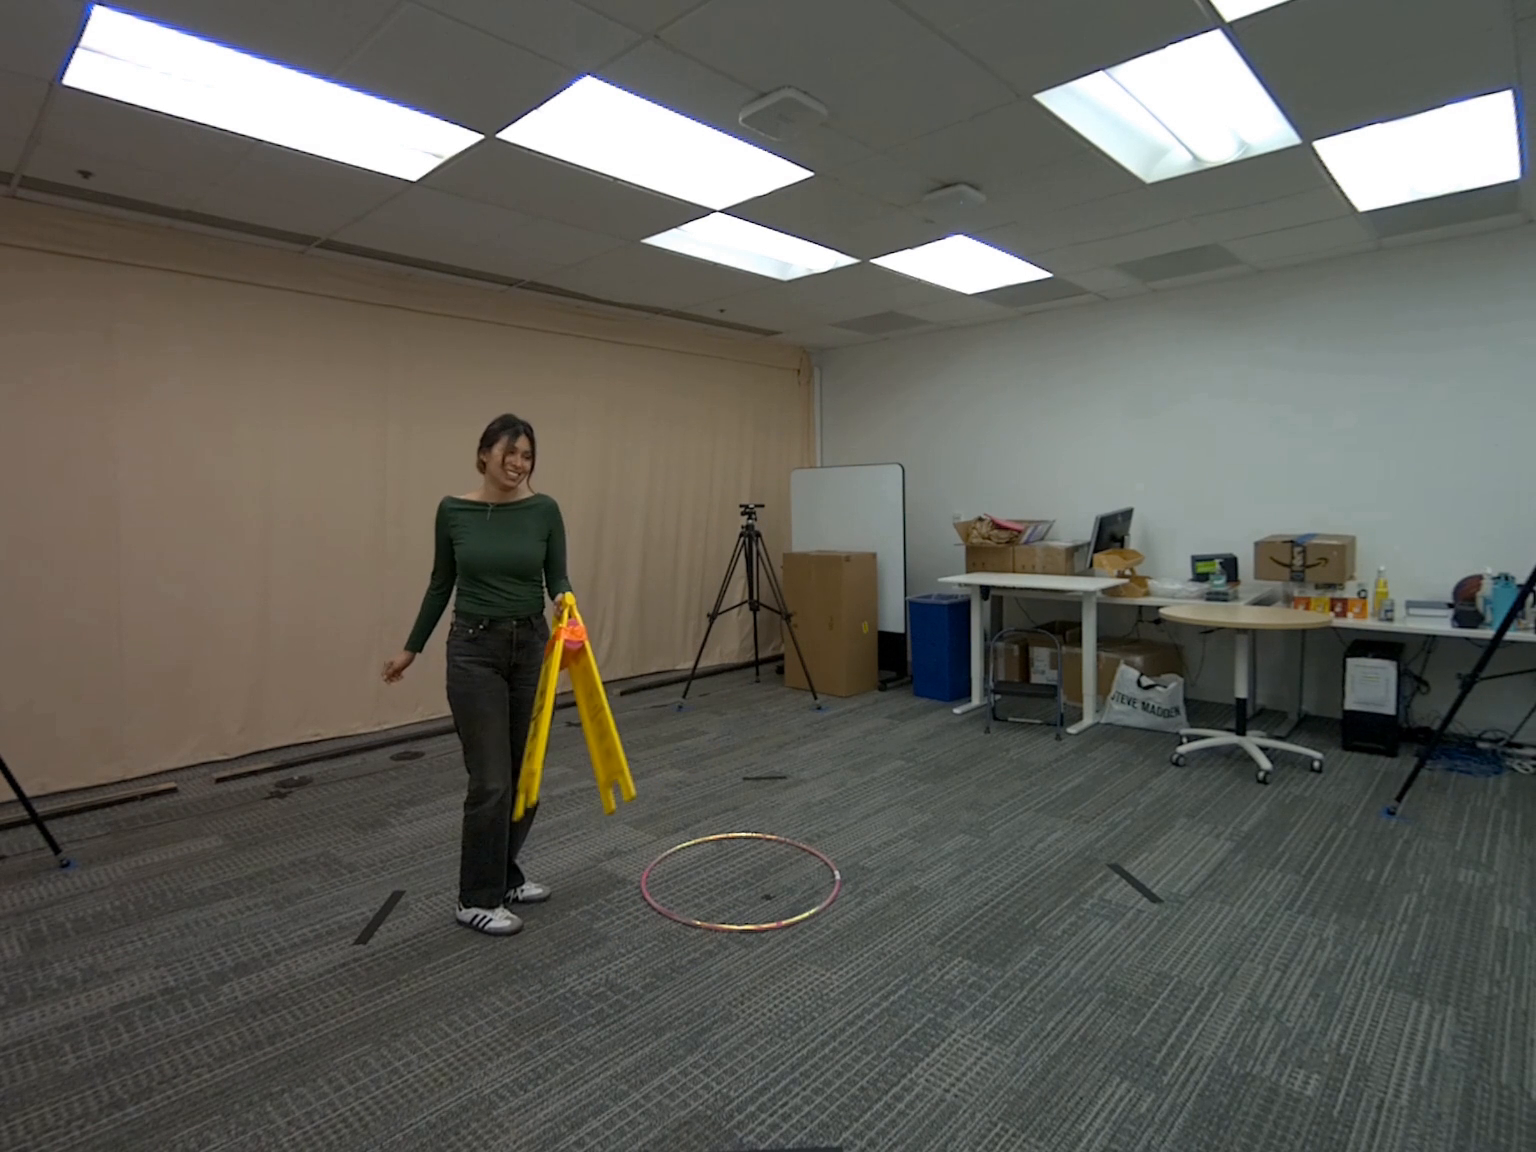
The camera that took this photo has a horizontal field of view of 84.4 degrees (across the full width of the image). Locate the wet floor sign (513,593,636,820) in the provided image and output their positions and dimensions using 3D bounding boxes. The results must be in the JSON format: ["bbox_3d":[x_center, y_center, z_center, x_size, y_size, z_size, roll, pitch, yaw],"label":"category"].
[{"bbox_3d":[-0.598,0.375,2.564,0.282,0.658,0.284,3,-27,-26],"label":"wet floor sign"}]
